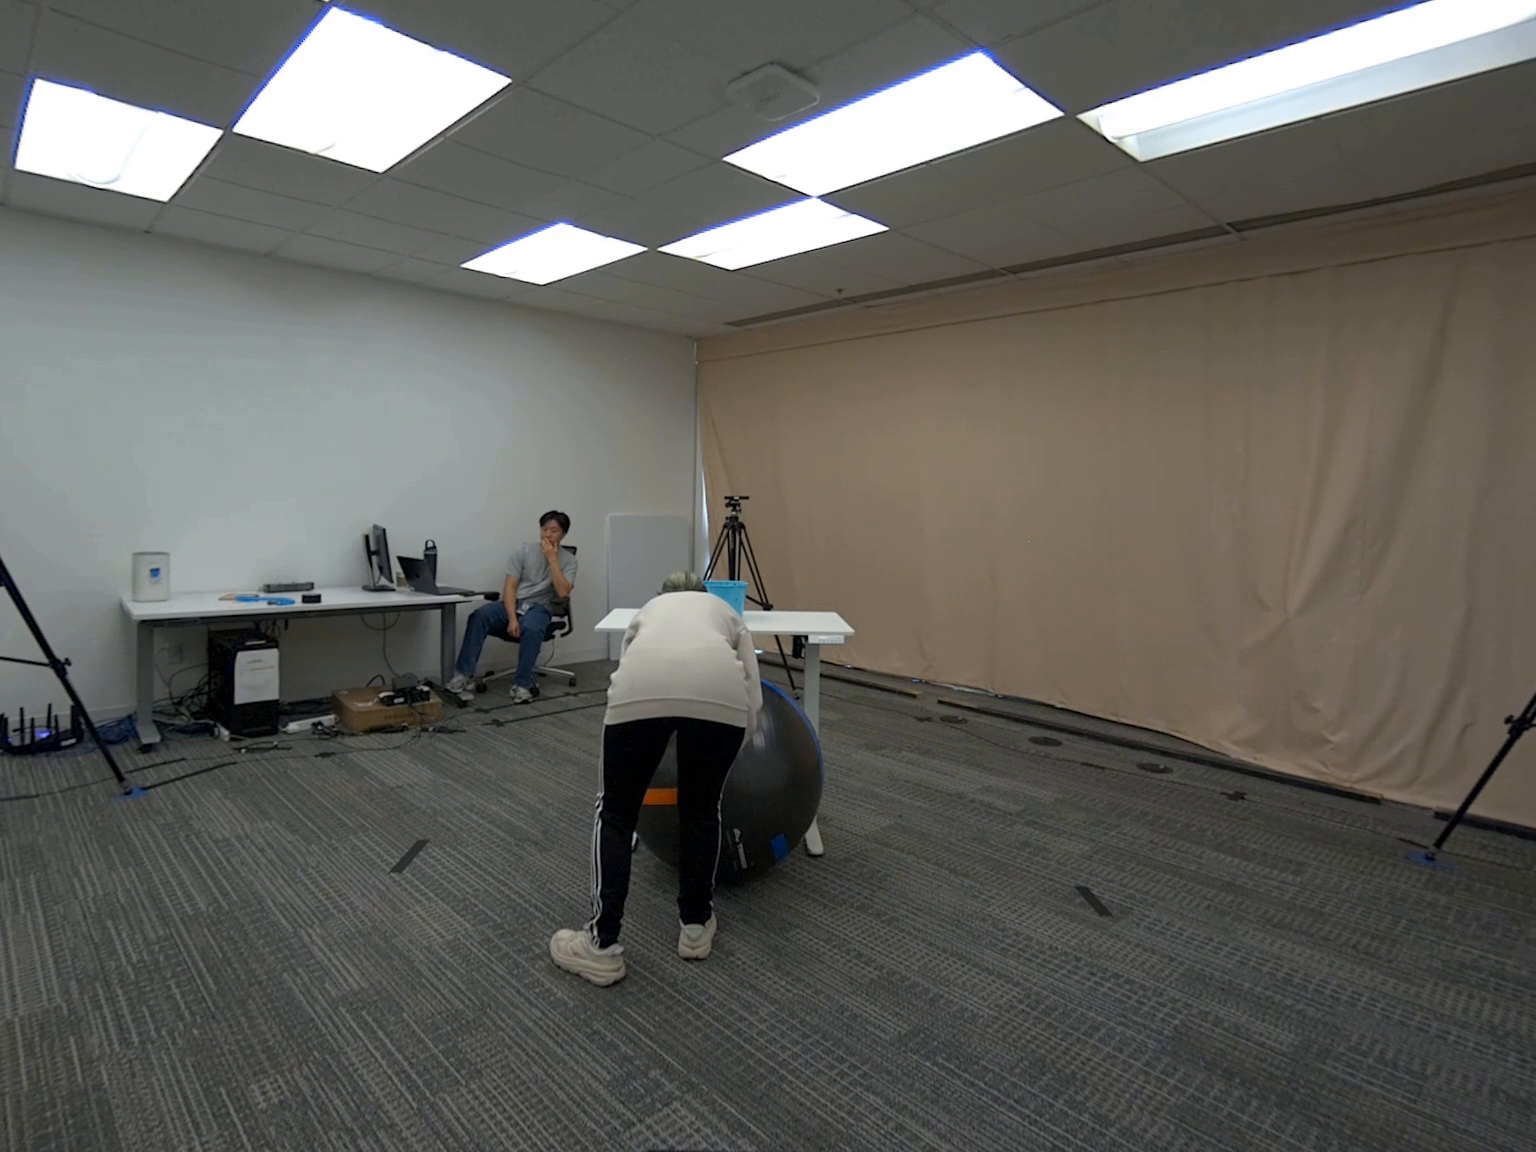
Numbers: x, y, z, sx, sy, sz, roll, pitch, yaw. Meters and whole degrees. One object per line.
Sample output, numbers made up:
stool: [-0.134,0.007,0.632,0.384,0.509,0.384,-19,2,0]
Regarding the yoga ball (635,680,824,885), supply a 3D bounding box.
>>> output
yoga ball: [-0.183,0.730,3.133,0.757,0.756,0.761,1,4,-1]
